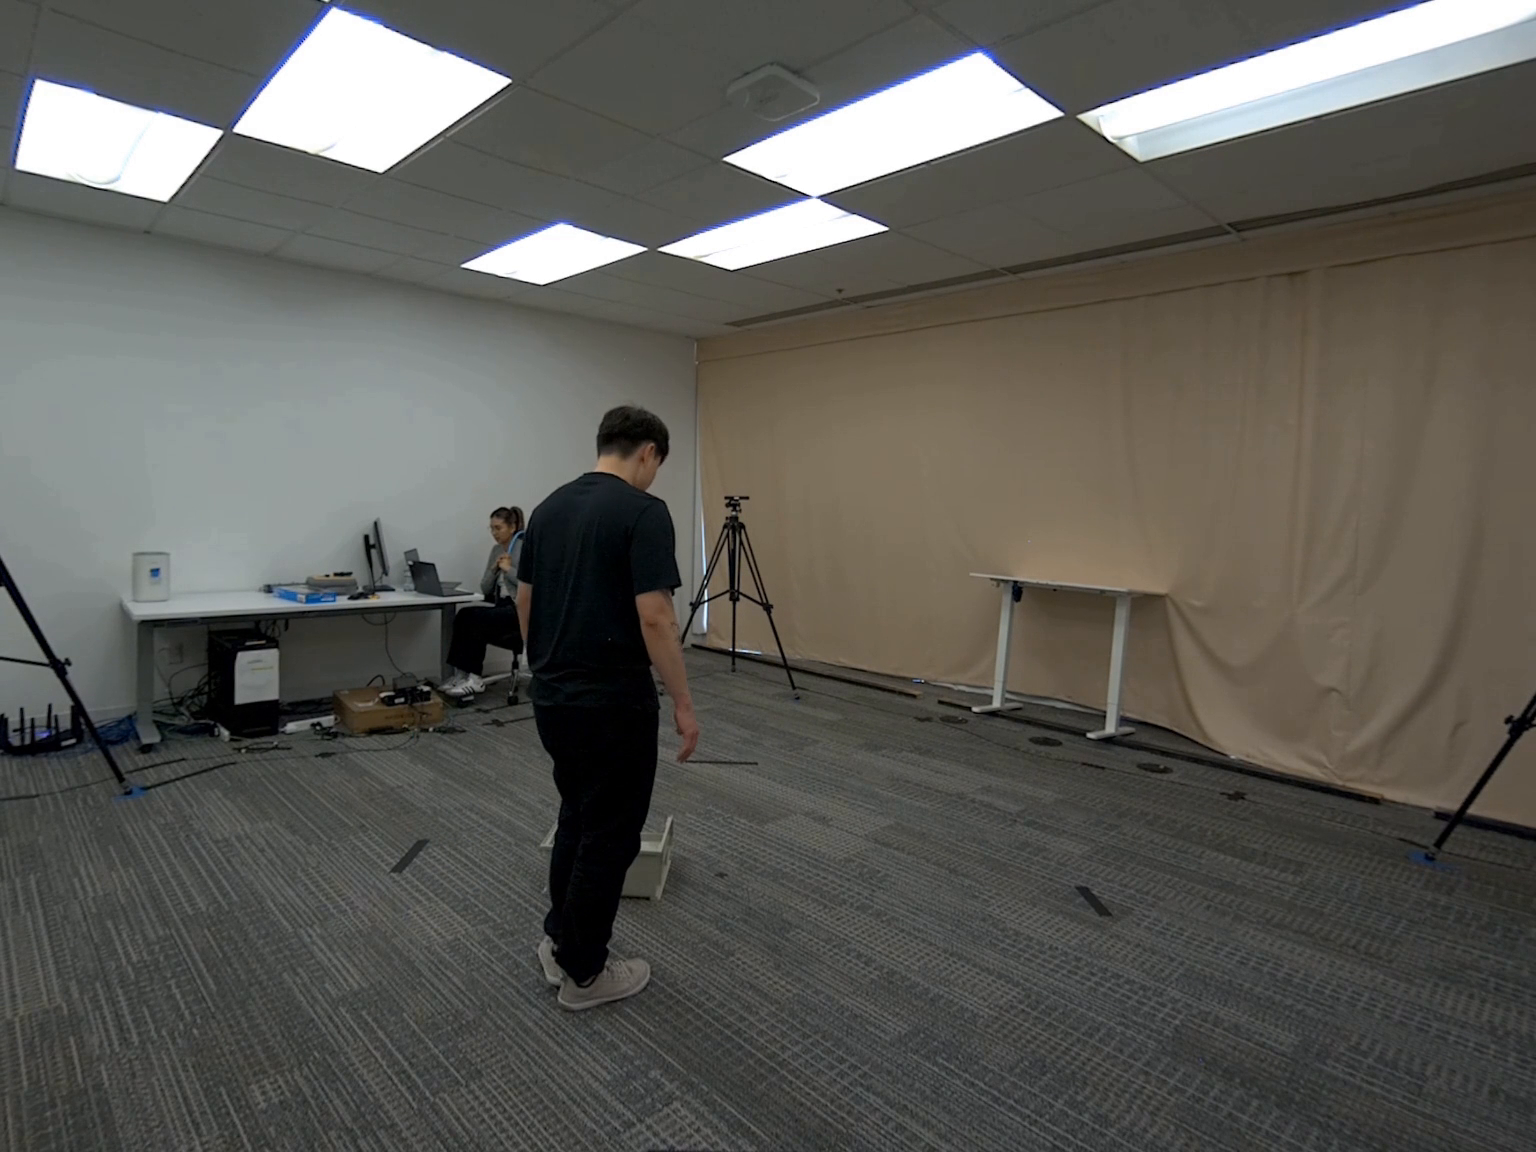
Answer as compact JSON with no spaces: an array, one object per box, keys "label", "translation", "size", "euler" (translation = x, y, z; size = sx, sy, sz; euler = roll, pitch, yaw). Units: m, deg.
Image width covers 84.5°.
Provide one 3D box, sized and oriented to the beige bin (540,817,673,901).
[{"label":"beige bin","translation":[-0.581,1.013,3.075],"size":[0.423,0.188,0.378],"euler":[3,5,1]}]
